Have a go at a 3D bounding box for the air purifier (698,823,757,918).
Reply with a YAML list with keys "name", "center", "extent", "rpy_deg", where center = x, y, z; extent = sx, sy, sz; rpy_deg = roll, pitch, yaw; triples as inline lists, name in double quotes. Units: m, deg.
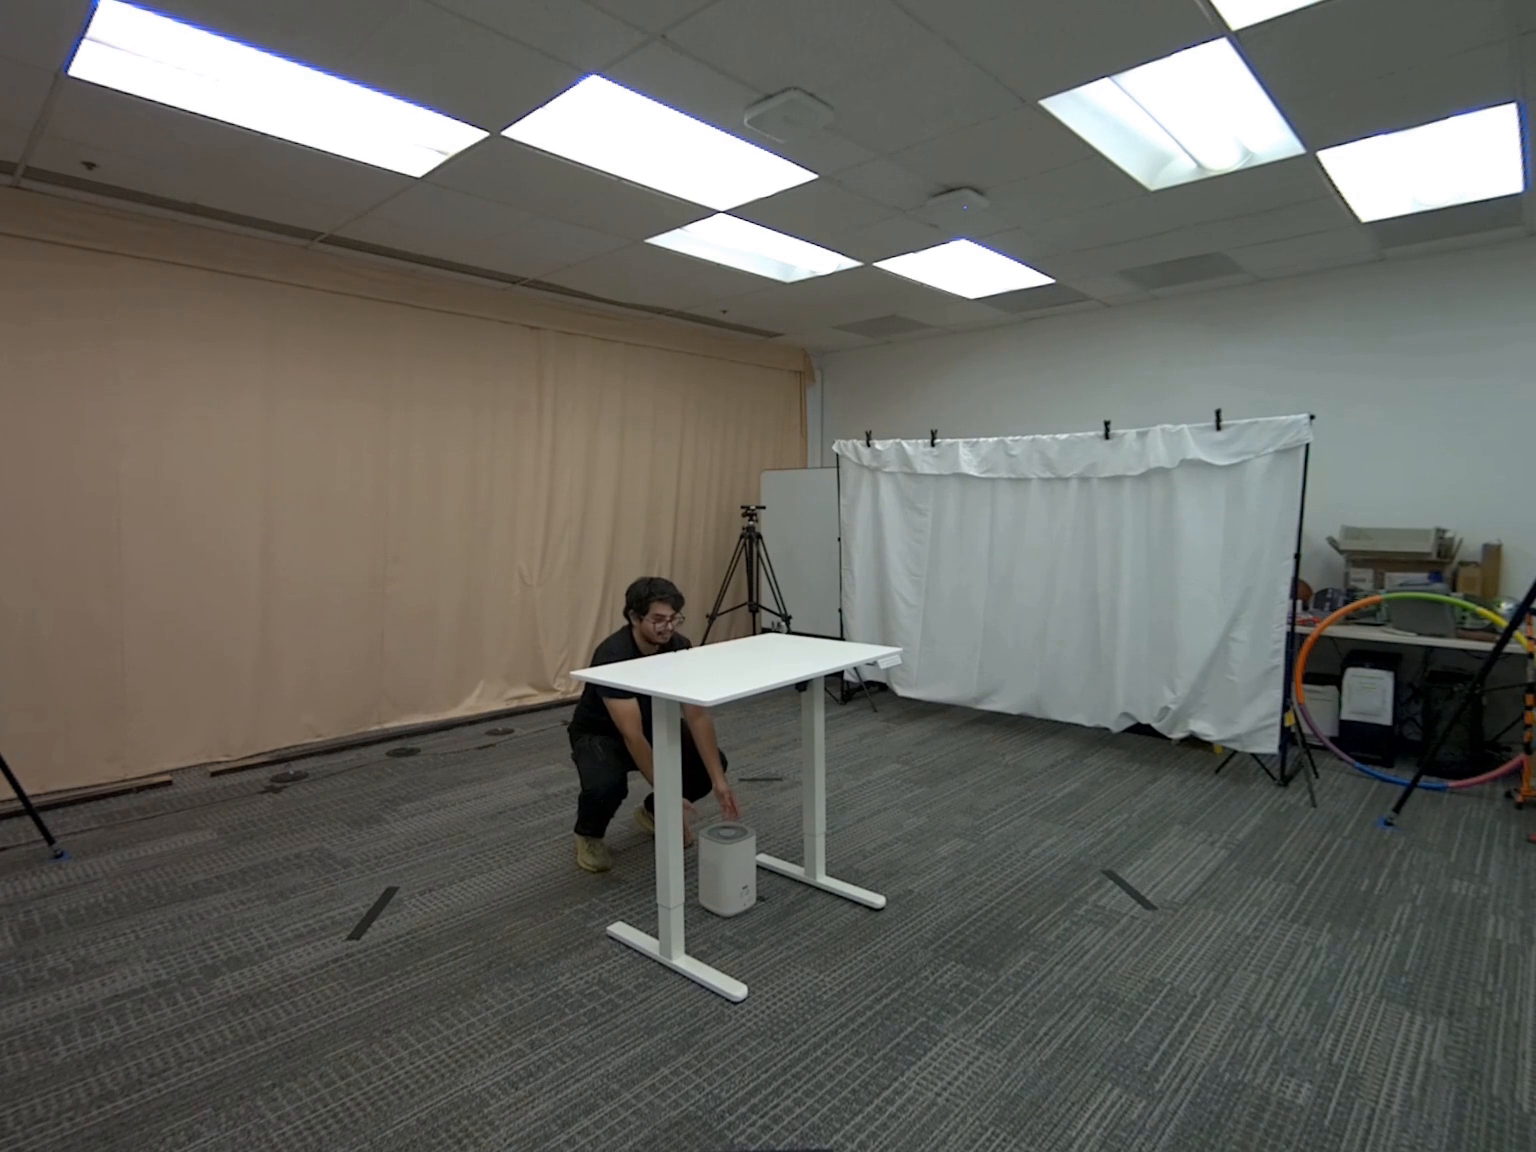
- name: "air purifier"
  center: [-0.135, 1.012, 2.921]
  extent: [0.177, 0.265, 0.166]
  rpy_deg: [4, 5, 43]
